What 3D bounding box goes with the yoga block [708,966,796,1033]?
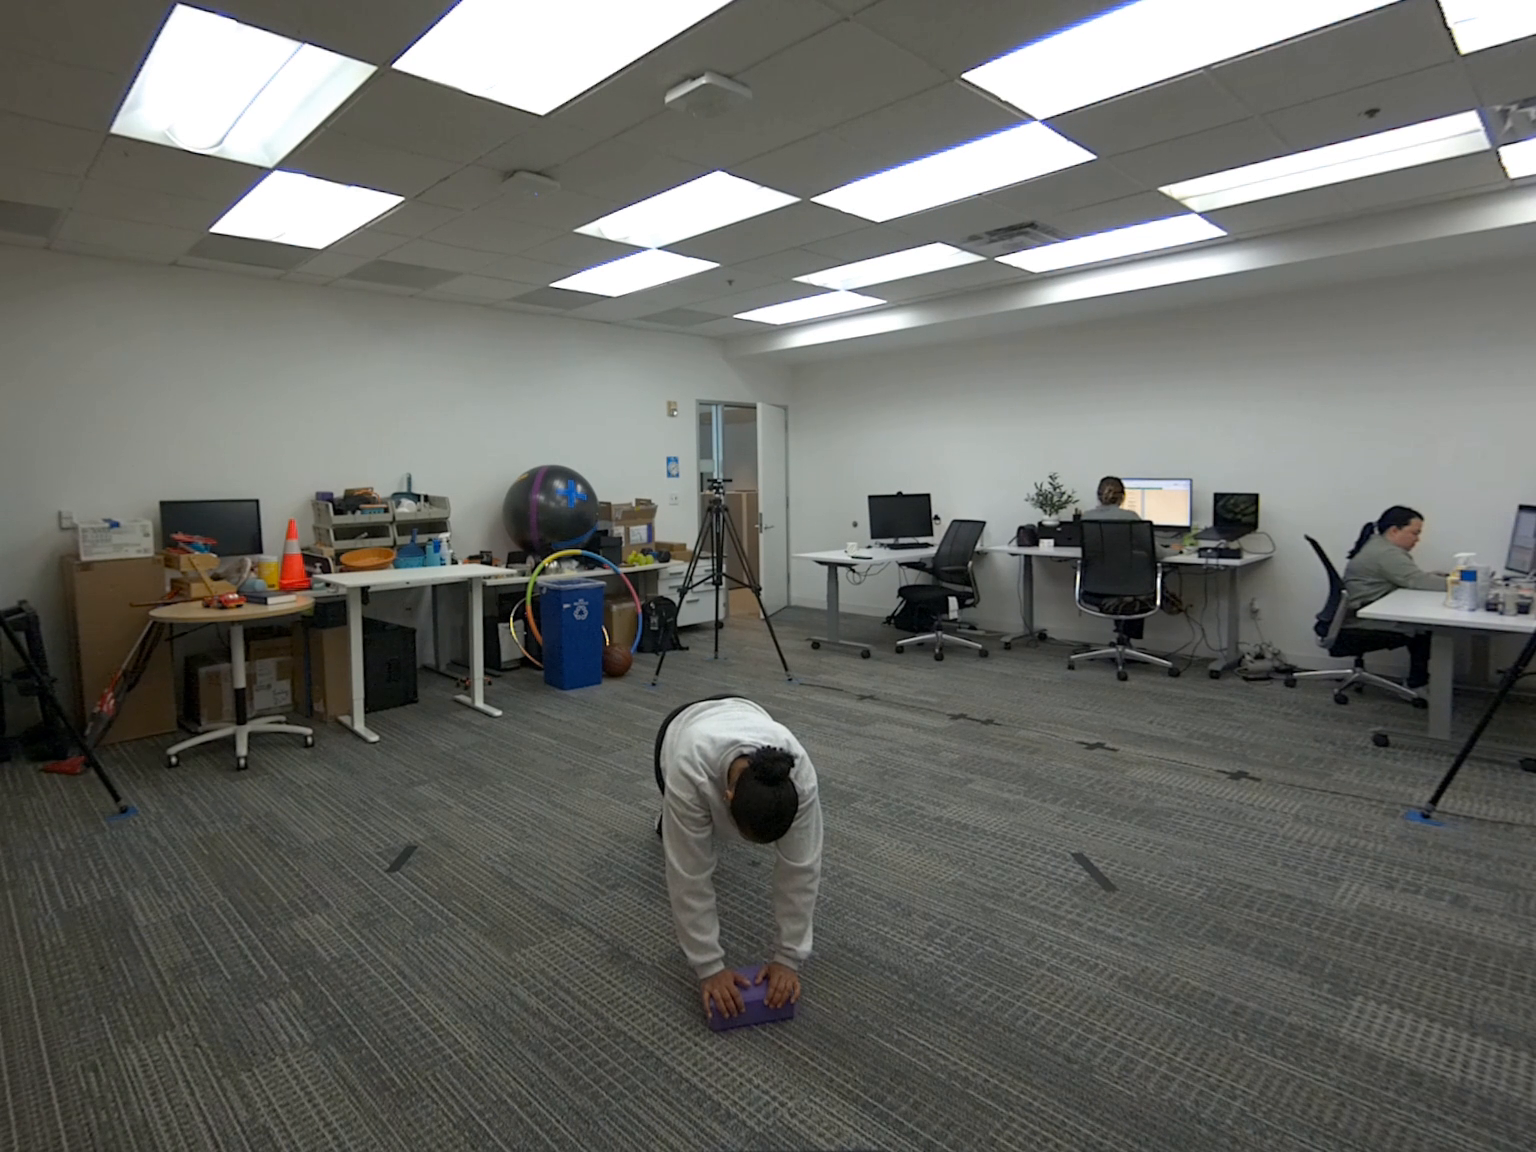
[{"bbox_3d":[-0.046,1.119,2.255,0.227,0.076,0.151,-2,6,-13],"label":"yoga block"}]
